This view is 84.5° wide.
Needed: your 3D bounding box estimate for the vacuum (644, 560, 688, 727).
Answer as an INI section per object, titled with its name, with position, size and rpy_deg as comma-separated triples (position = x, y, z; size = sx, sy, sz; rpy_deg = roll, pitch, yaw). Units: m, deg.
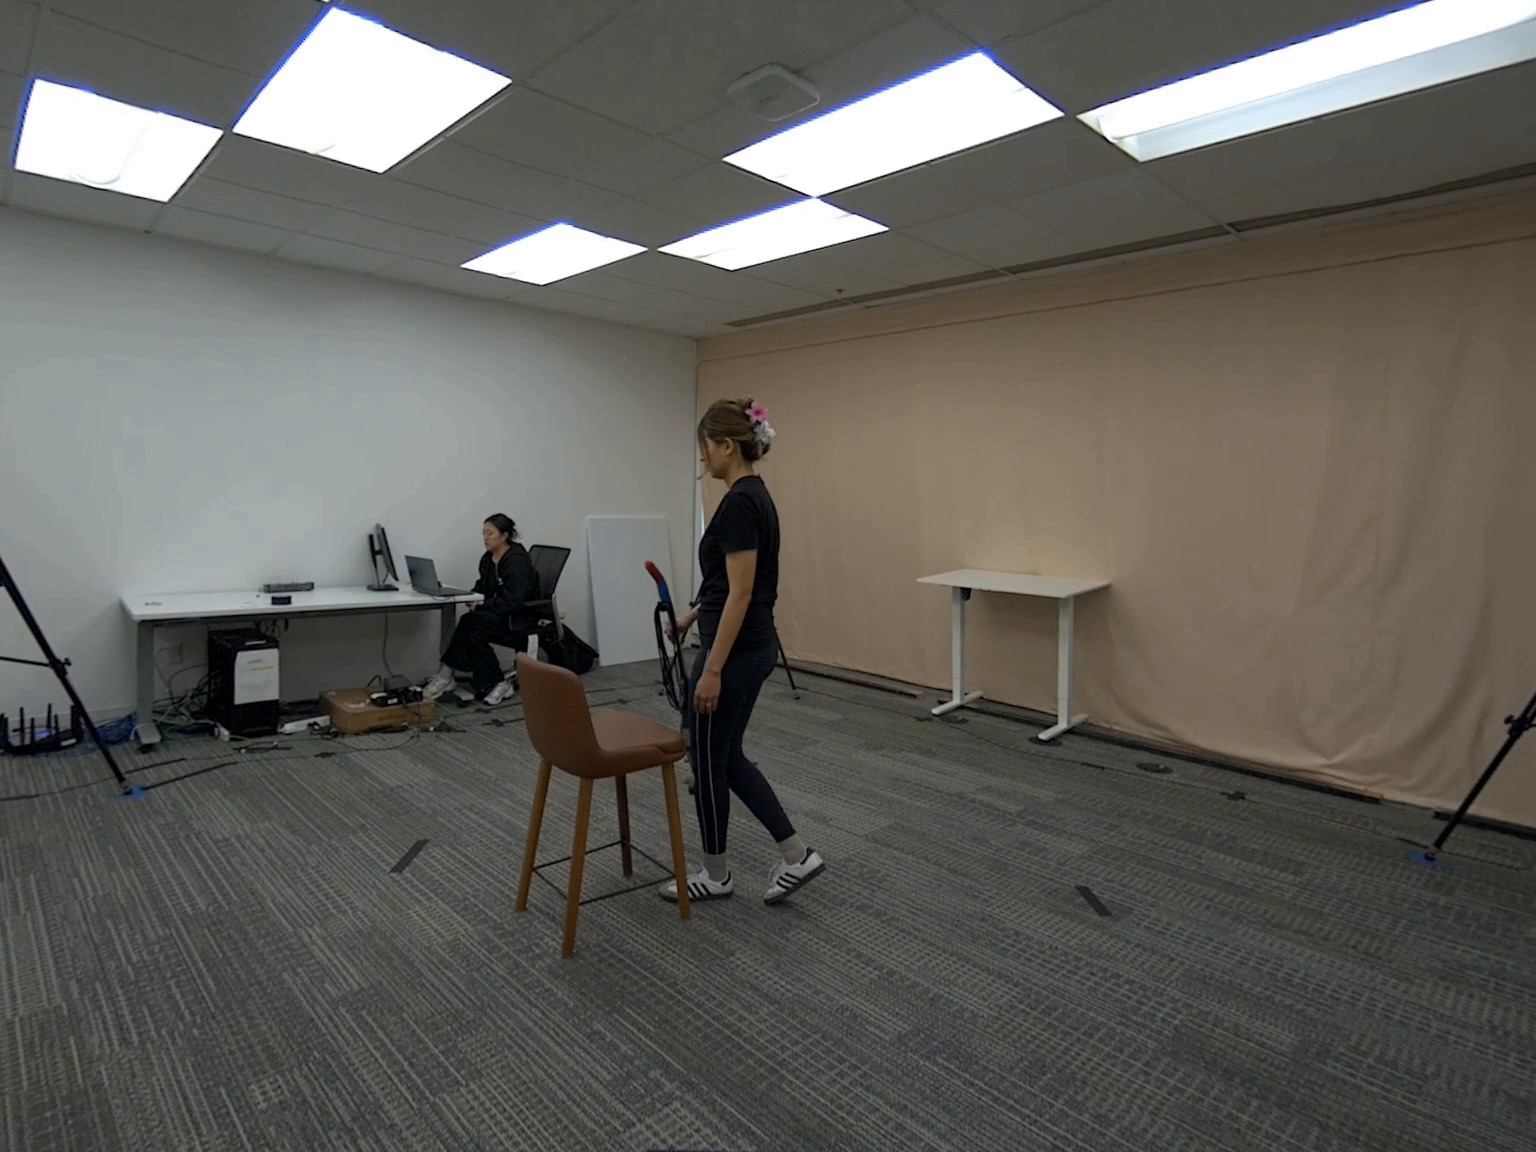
[vacuum]
position = -0.333, 0.408, 3.149
size = 0.257, 1.027, 0.144
rpy_deg = 3, 30, 25
